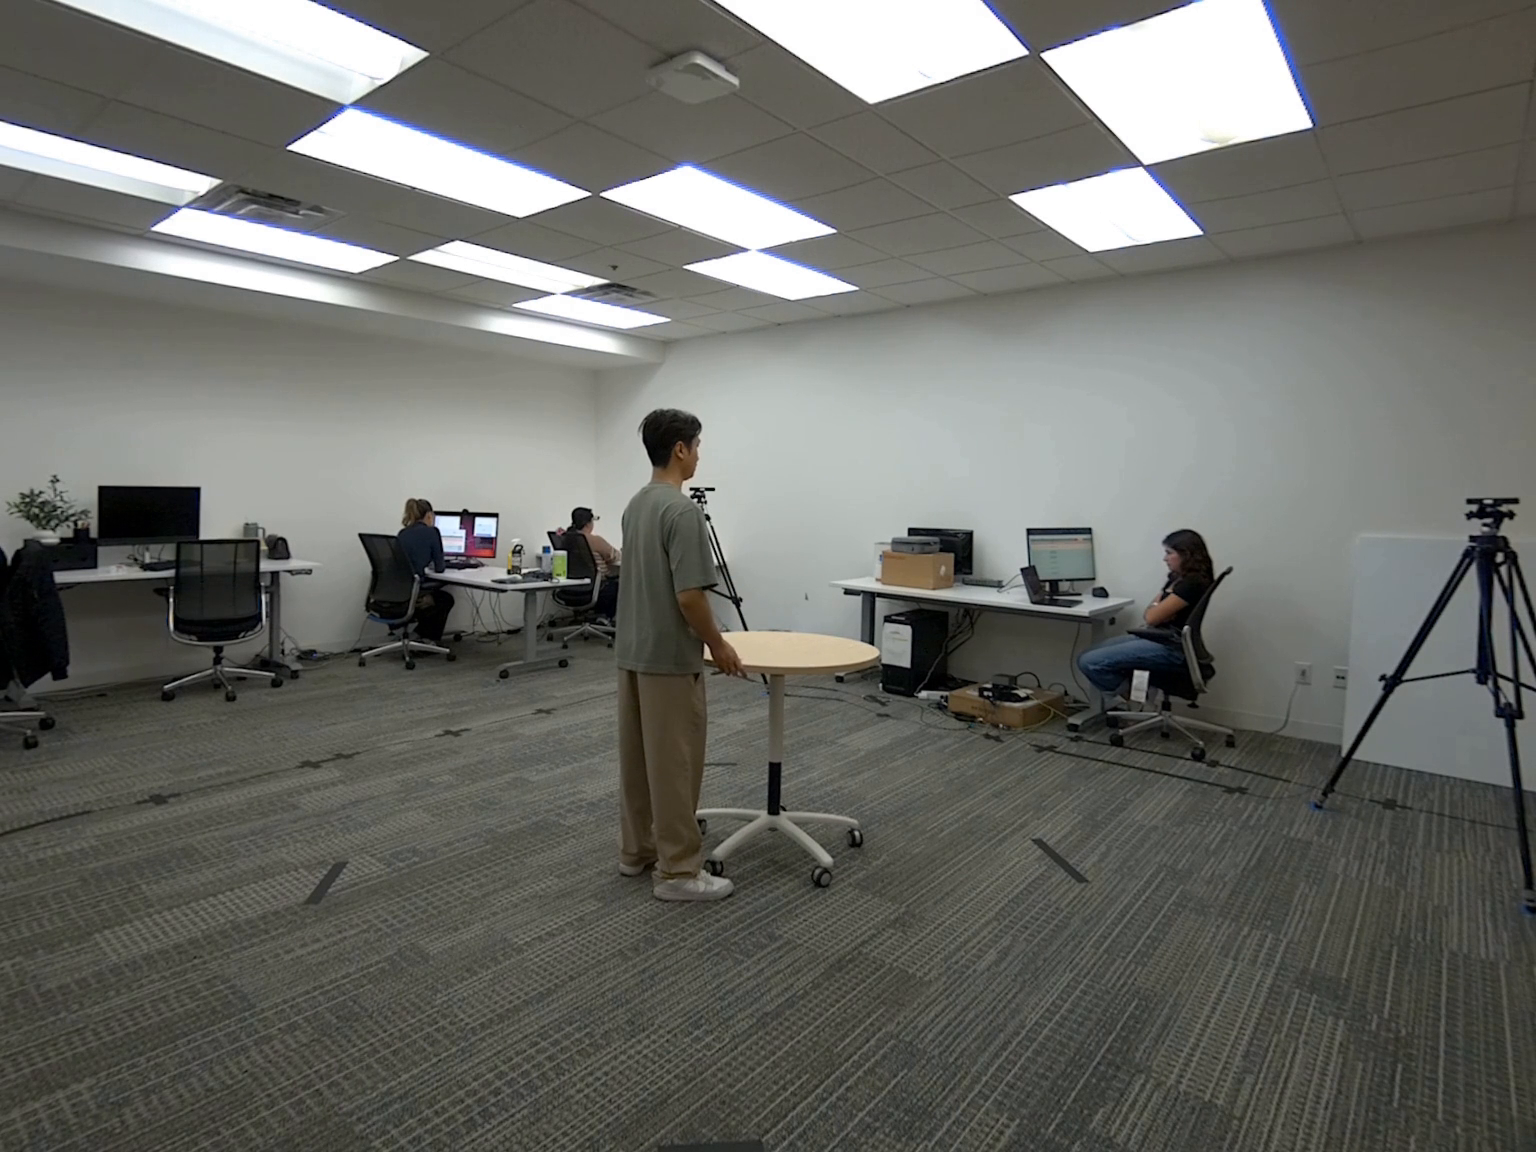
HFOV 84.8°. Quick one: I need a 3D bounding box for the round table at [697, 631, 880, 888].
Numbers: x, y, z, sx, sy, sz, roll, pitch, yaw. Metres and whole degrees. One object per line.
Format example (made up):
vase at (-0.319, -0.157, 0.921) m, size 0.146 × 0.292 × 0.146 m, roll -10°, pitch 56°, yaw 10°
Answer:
round table at (0.025, 0.662, 3.257) m, size 0.784 × 0.784 × 0.788 m, roll 1°, pitch 4°, yaw -2°
